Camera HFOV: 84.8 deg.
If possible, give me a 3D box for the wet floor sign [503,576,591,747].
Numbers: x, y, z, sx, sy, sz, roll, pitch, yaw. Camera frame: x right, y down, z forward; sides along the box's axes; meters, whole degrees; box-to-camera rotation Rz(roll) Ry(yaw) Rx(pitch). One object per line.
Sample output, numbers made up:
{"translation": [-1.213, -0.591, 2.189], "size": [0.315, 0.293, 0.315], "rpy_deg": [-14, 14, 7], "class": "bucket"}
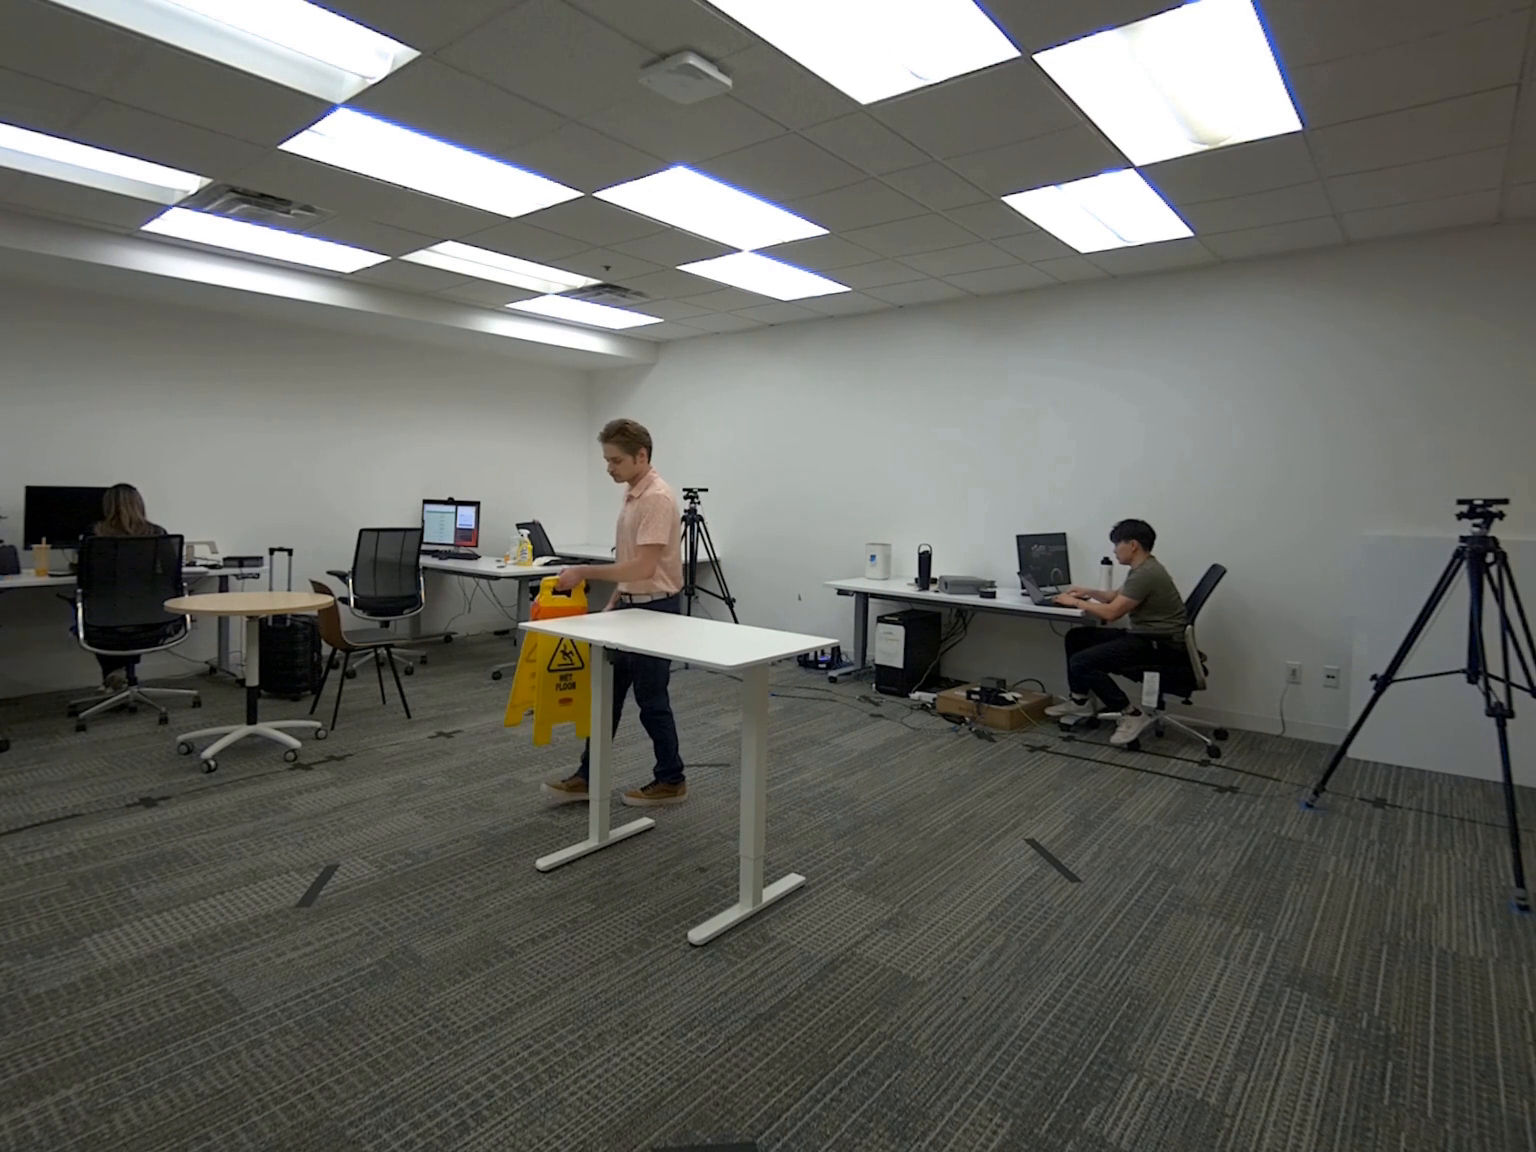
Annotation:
{"translation": [-0.888, 0.326, 3.486], "size": [0.273, 0.644, 0.300], "rpy_deg": [2, 5, -45], "class": "wet floor sign"}
